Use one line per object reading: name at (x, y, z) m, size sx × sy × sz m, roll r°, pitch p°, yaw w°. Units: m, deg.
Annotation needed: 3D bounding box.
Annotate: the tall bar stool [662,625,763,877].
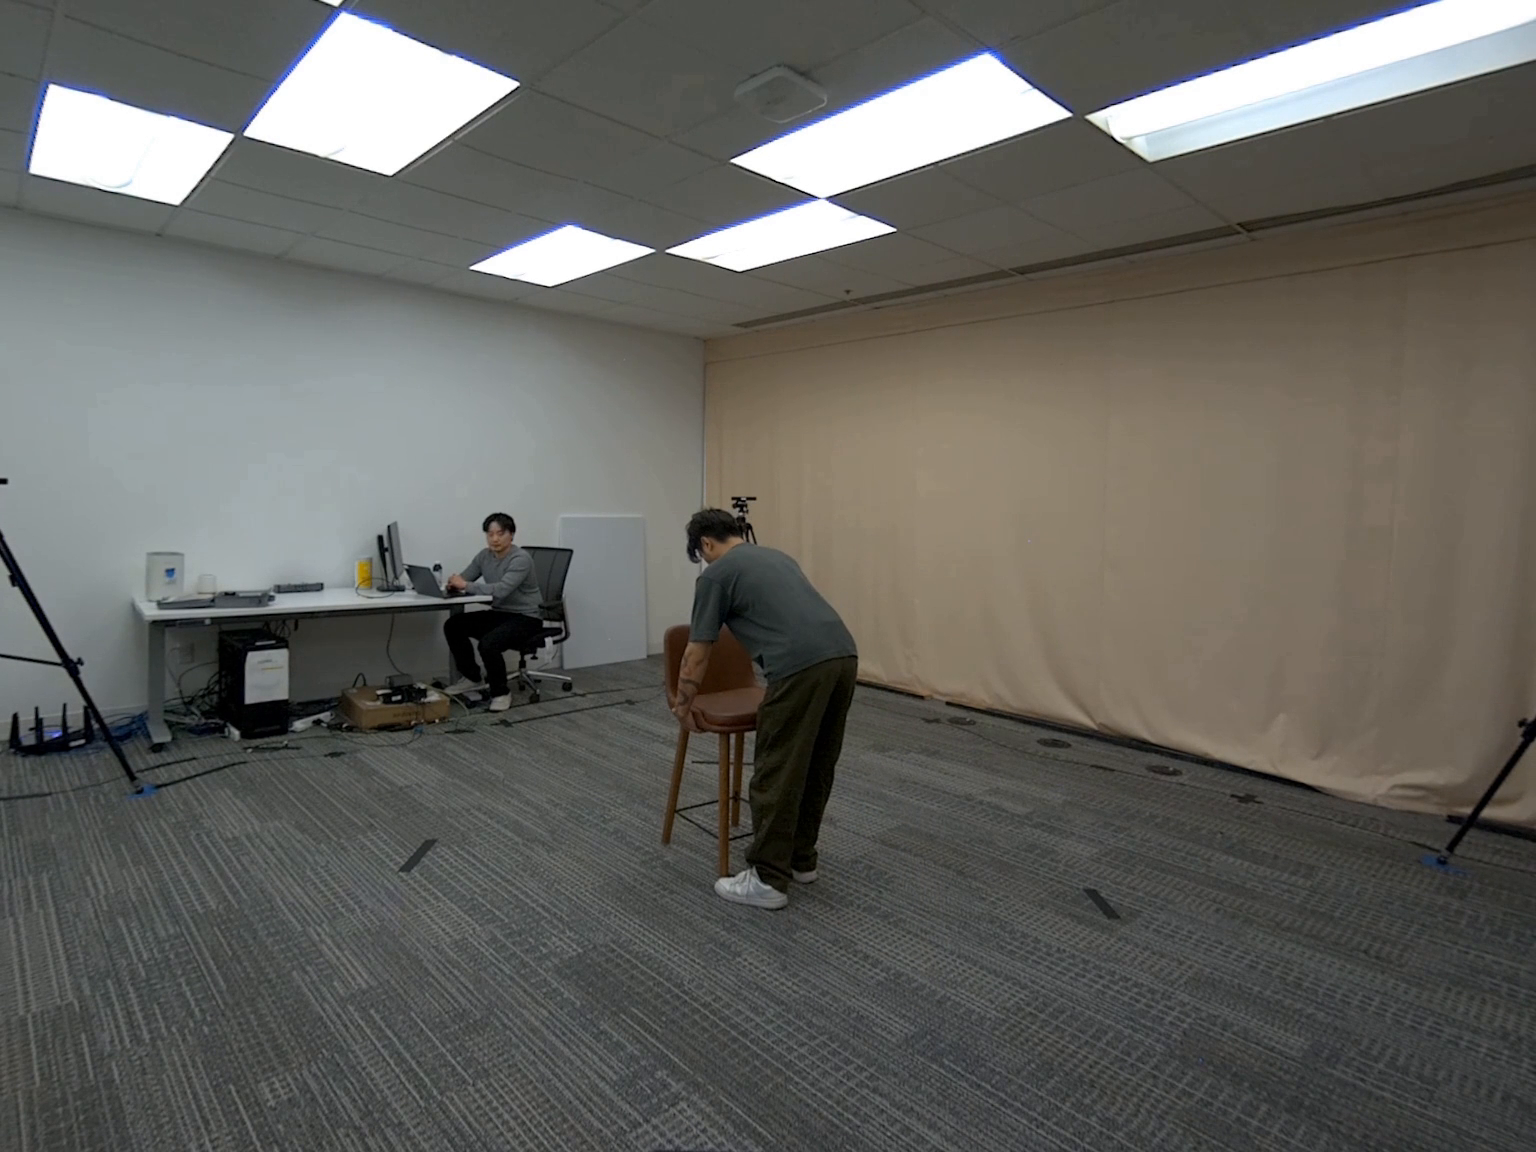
tall bar stool at (-0.149, 0.652, 3.303) m, size 0.446 × 0.889 × 0.478 m, roll -1°, pitch 2°, yaw -37°
